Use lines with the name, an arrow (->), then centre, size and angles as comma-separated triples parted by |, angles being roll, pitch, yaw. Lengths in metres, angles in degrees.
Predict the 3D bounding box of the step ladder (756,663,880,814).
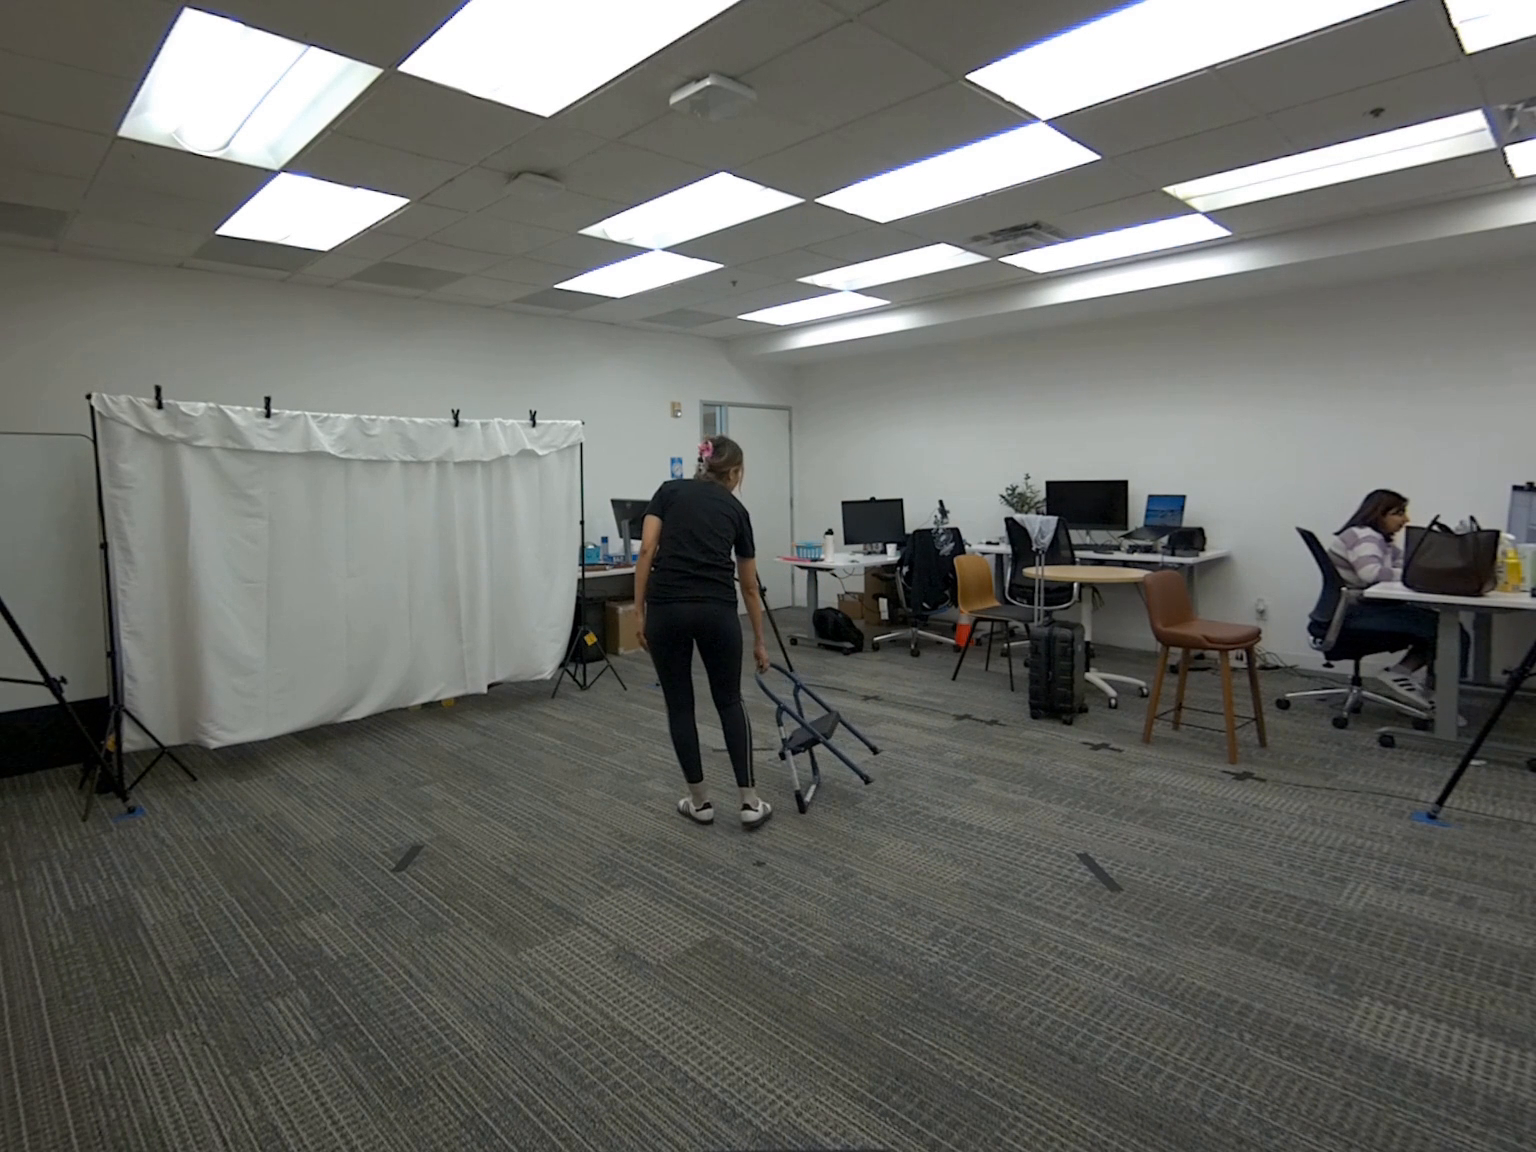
step ladder -> 0.178, 0.635, 3.748 | 0.351, 0.609, 0.426 | -30, -3, 13
